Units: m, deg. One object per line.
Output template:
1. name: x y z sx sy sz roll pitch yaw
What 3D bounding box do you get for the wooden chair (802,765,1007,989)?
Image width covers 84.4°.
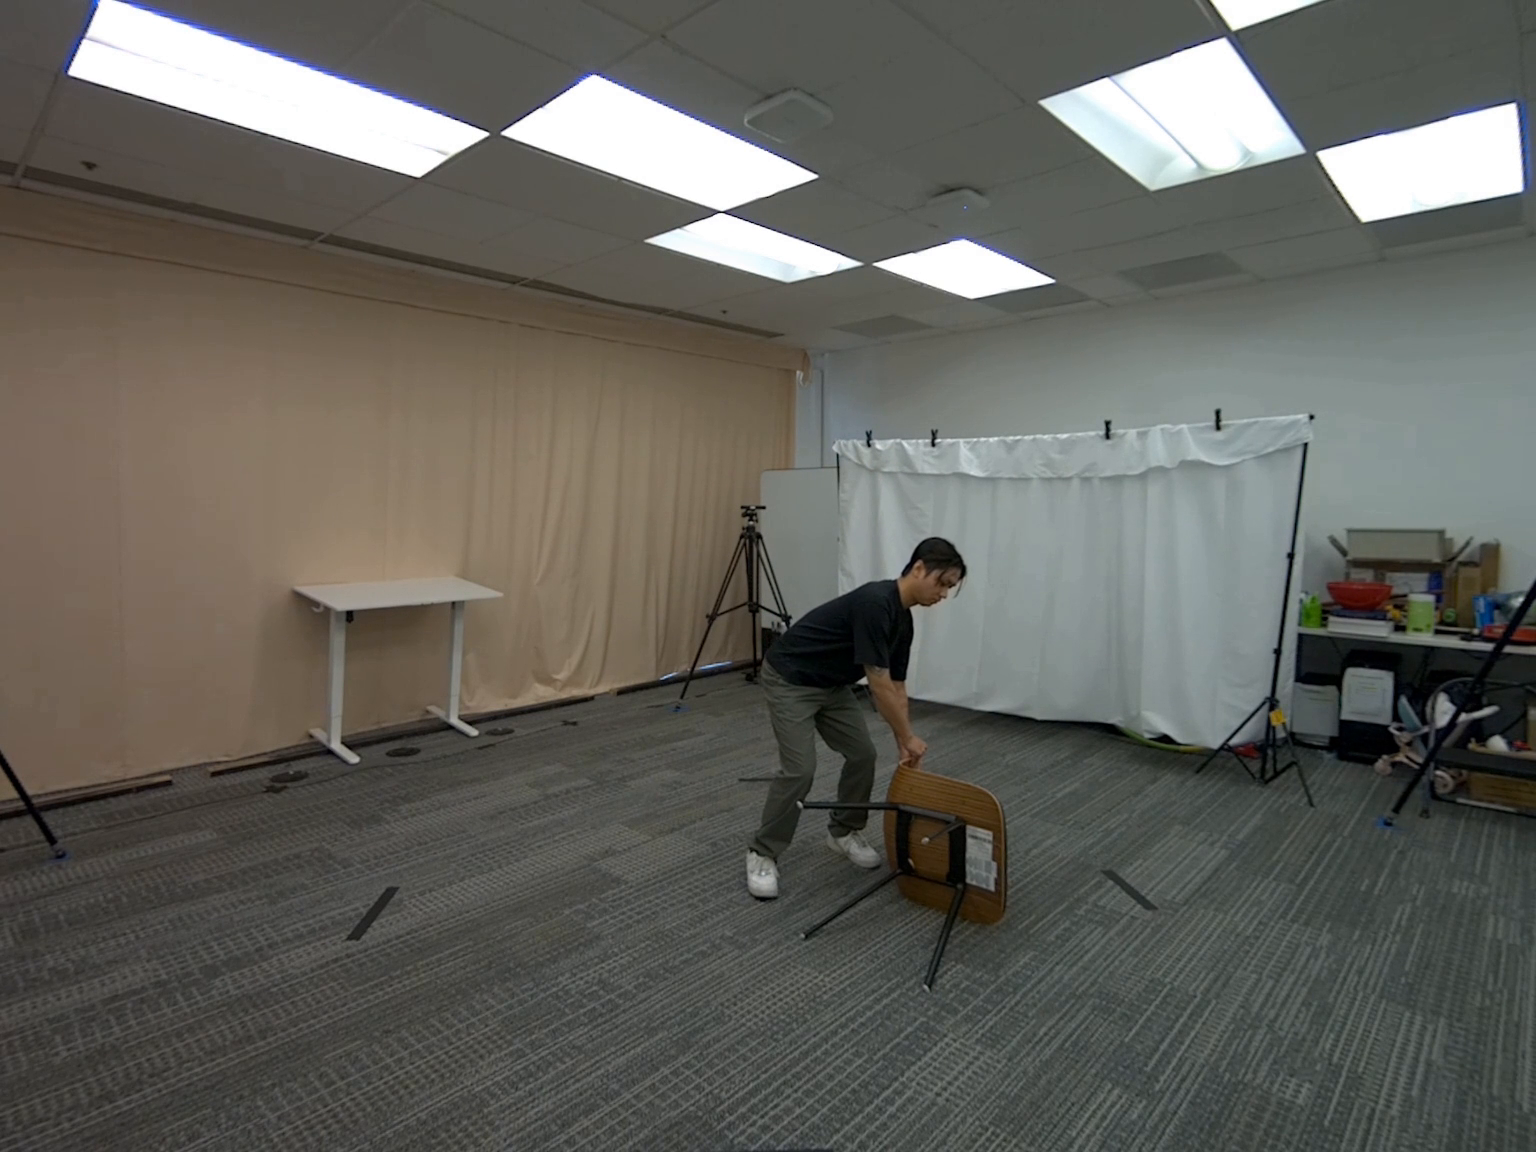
1. wooden chair: 0.551 0.916 2.851 0.539 0.477 0.853 2 6 35
